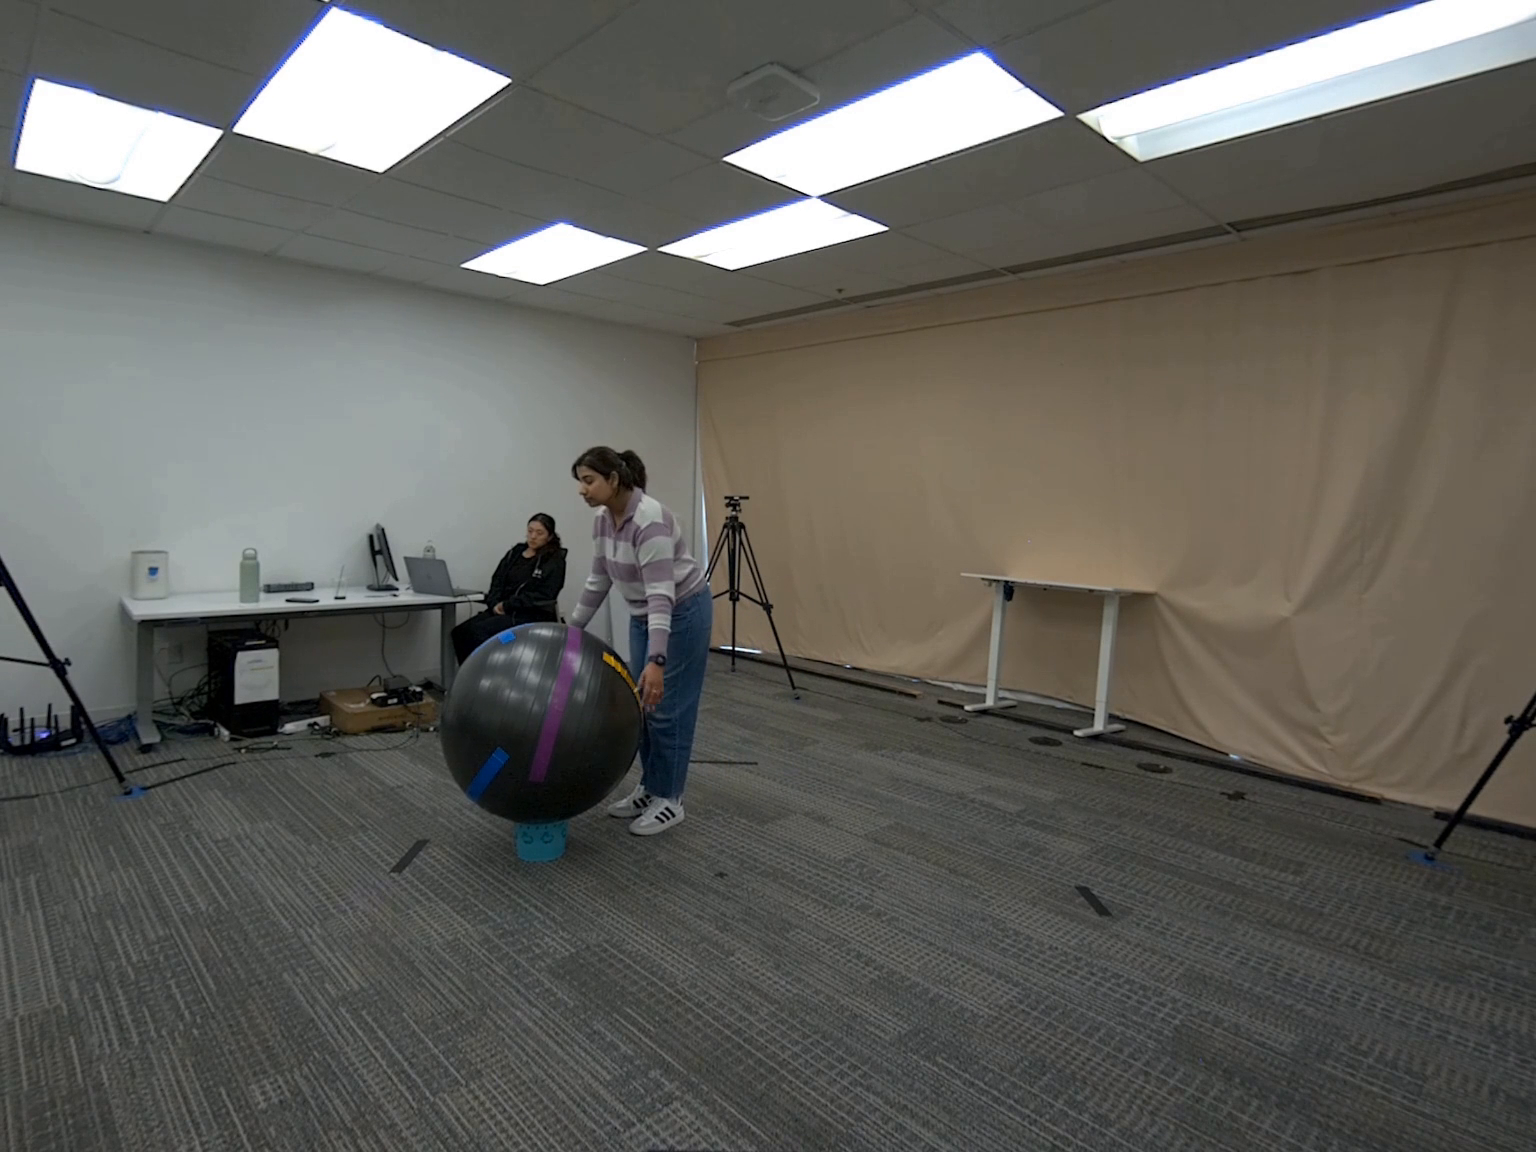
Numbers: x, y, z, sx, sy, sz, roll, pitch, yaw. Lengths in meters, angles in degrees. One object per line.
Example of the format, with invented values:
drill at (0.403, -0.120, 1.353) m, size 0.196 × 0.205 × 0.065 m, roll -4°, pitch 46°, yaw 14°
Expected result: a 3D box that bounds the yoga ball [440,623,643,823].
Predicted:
yoga ball at (-0.878, 0.567, 3.241) m, size 0.757 × 0.756 × 0.761 m, roll 1°, pitch 4°, yaw -1°
